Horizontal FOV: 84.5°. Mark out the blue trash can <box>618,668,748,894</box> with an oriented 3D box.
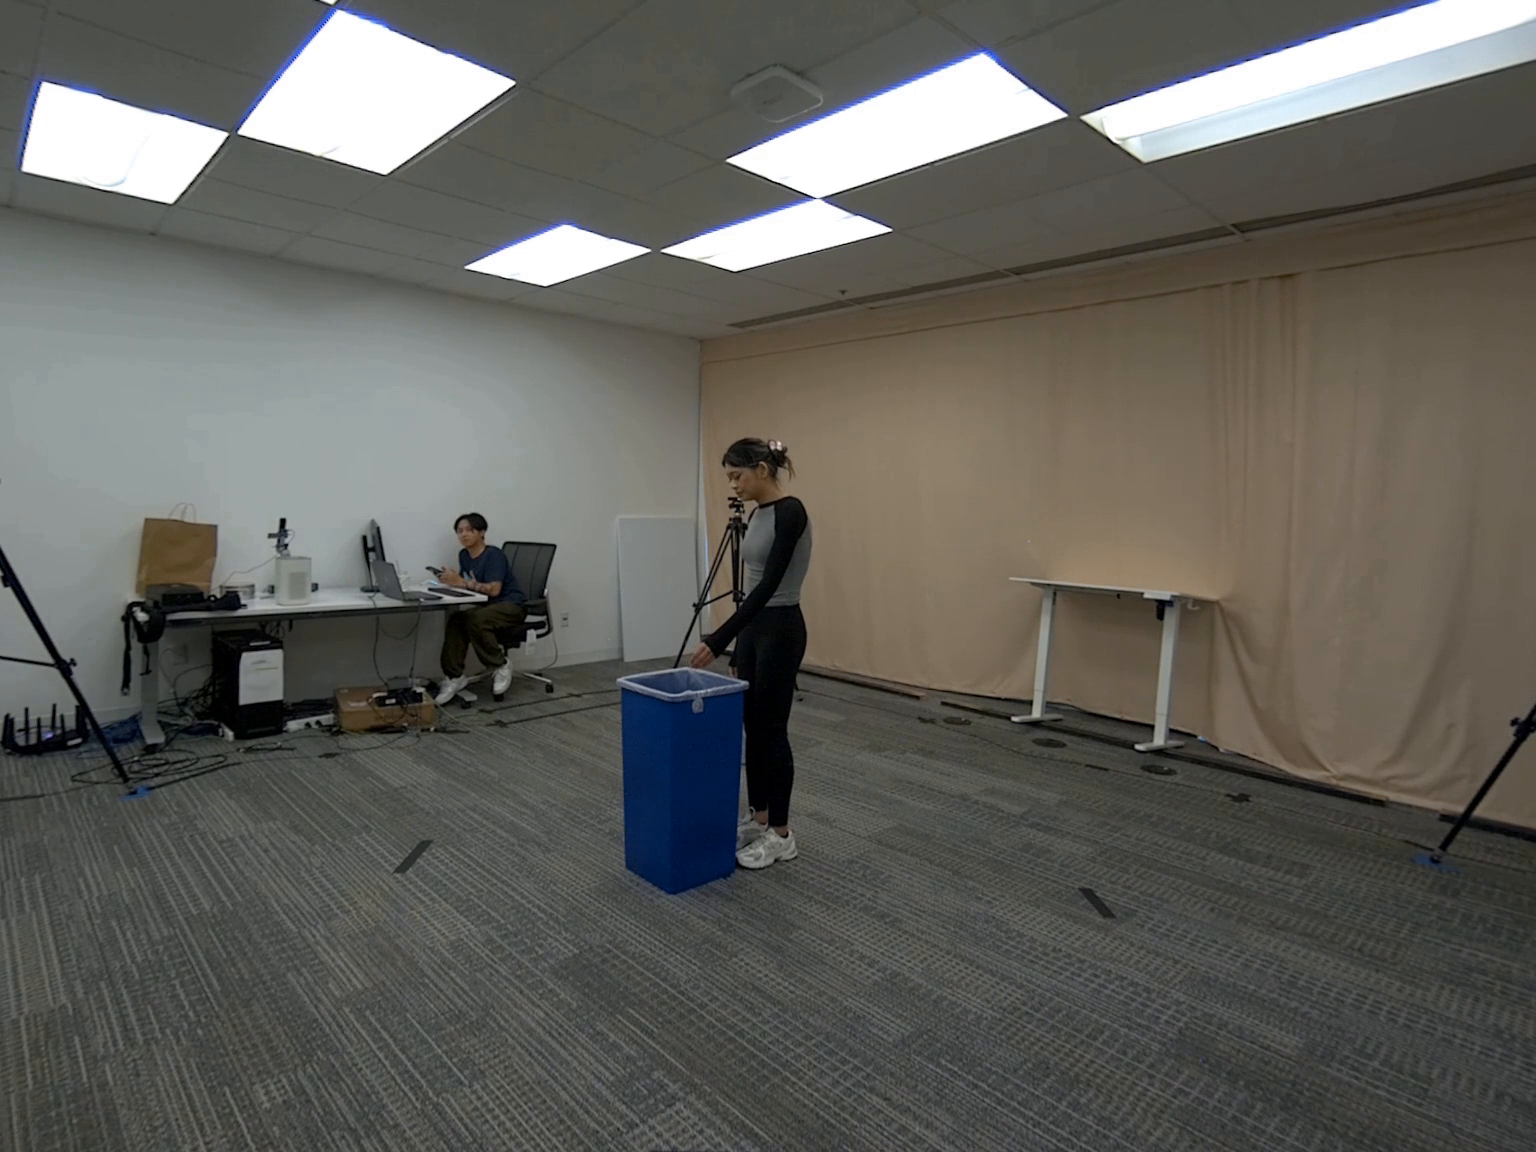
[{"bbox_3d":[-0.336,0.743,3.133,0.369,0.712,0.384,-1,4,-42],"label":"blue trash can"}]
